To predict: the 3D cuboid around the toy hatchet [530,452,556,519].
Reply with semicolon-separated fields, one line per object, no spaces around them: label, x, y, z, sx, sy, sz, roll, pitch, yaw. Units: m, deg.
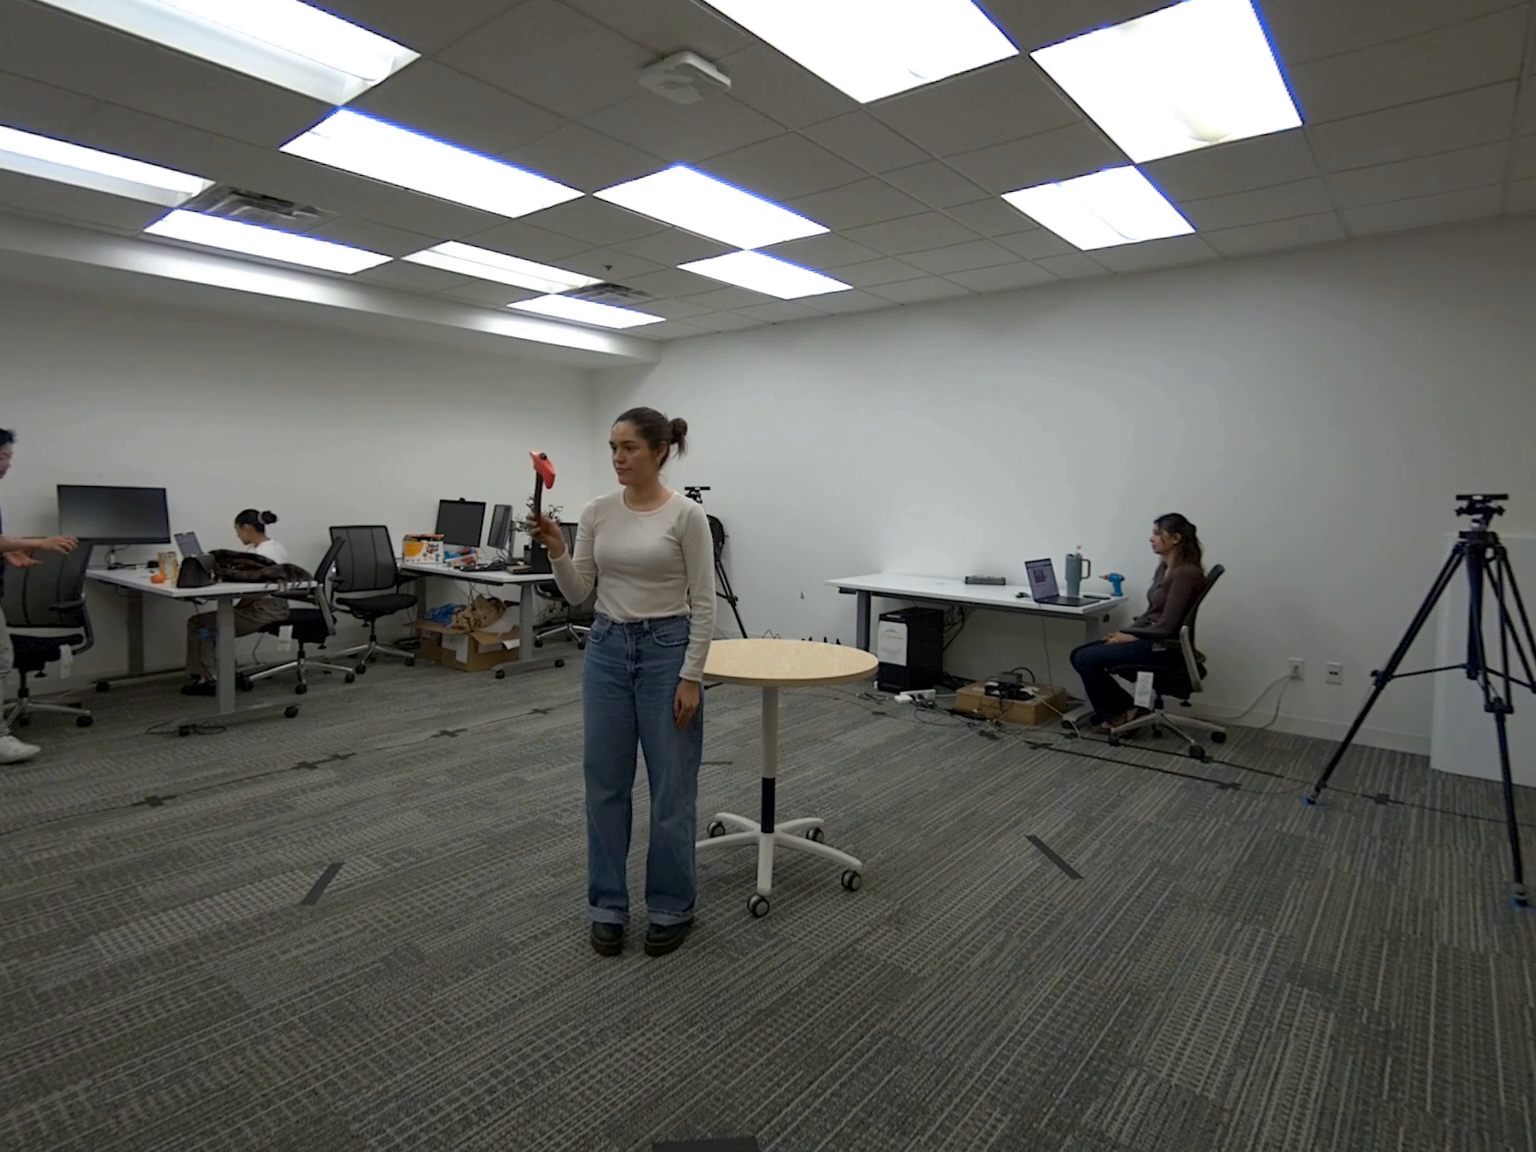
toy hatchet;-0.632;-0.214;2.368;0.029;0.265;0.136;-16;26;-43
